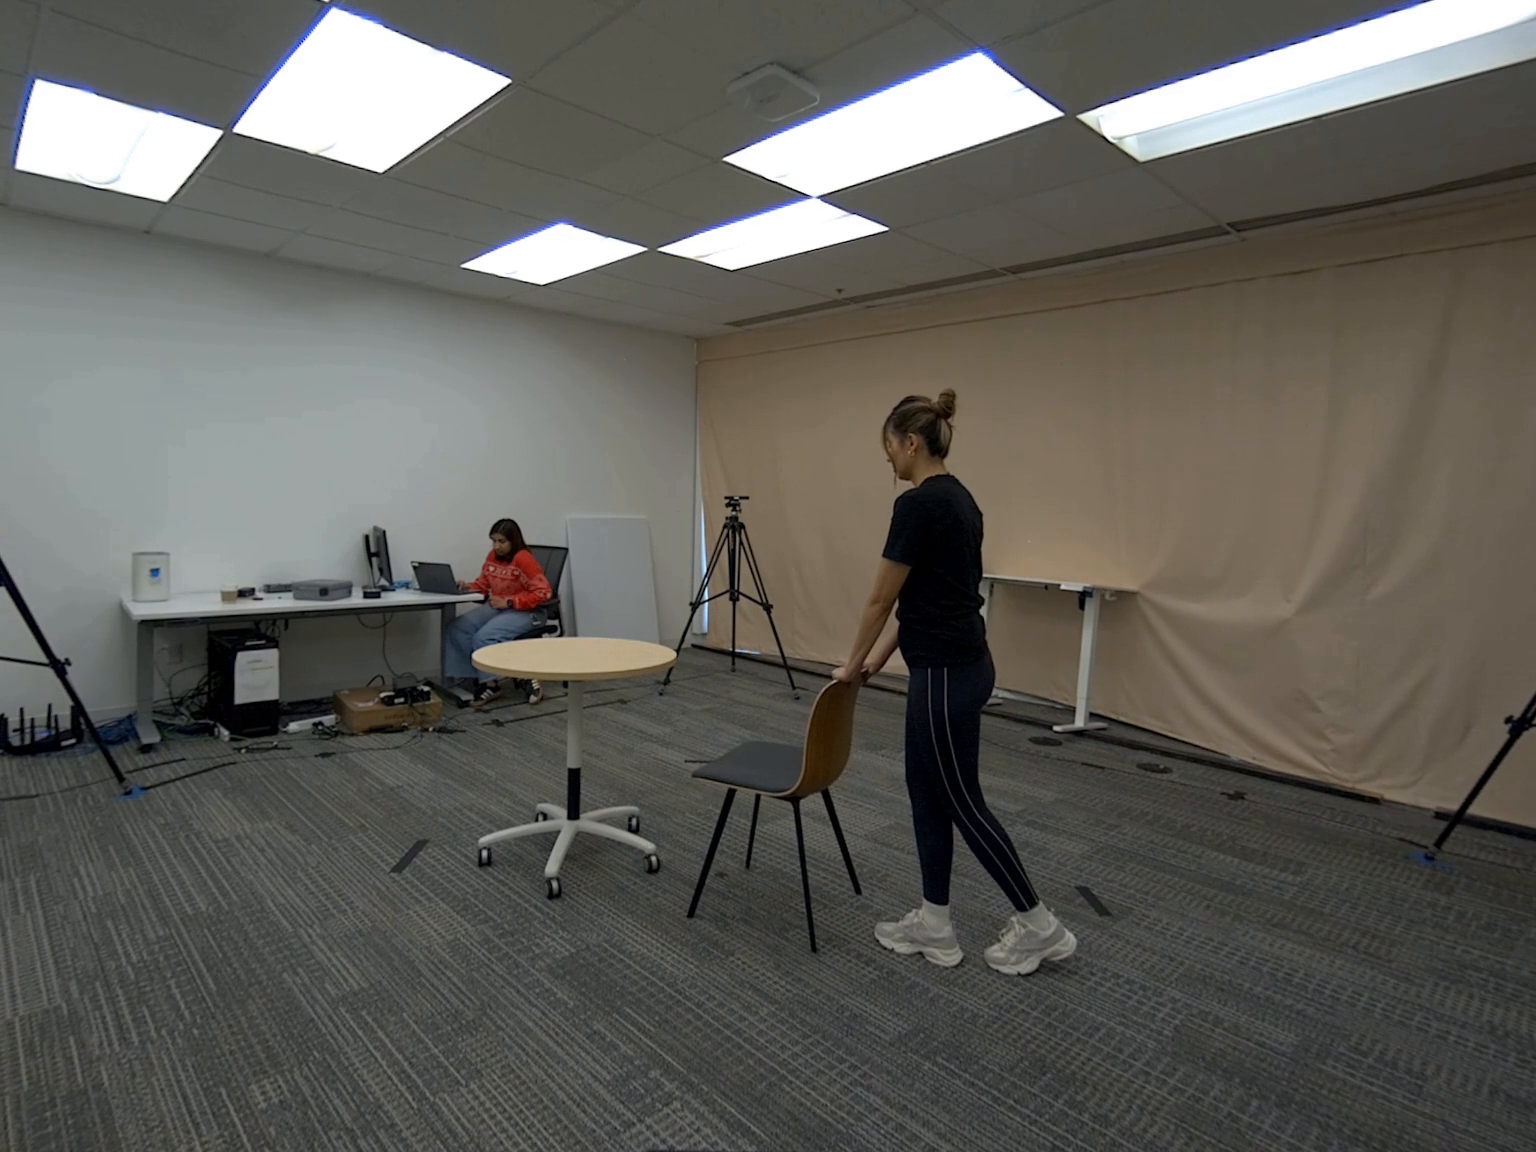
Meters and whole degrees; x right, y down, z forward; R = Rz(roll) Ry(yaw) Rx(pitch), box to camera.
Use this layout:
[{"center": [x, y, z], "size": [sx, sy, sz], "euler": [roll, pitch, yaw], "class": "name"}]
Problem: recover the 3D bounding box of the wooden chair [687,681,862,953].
[{"center": [0.033, 0.702, 2.848], "size": [0.534, 0.874, 0.470], "euler": [8, 6, 26], "class": "wooden chair"}]
